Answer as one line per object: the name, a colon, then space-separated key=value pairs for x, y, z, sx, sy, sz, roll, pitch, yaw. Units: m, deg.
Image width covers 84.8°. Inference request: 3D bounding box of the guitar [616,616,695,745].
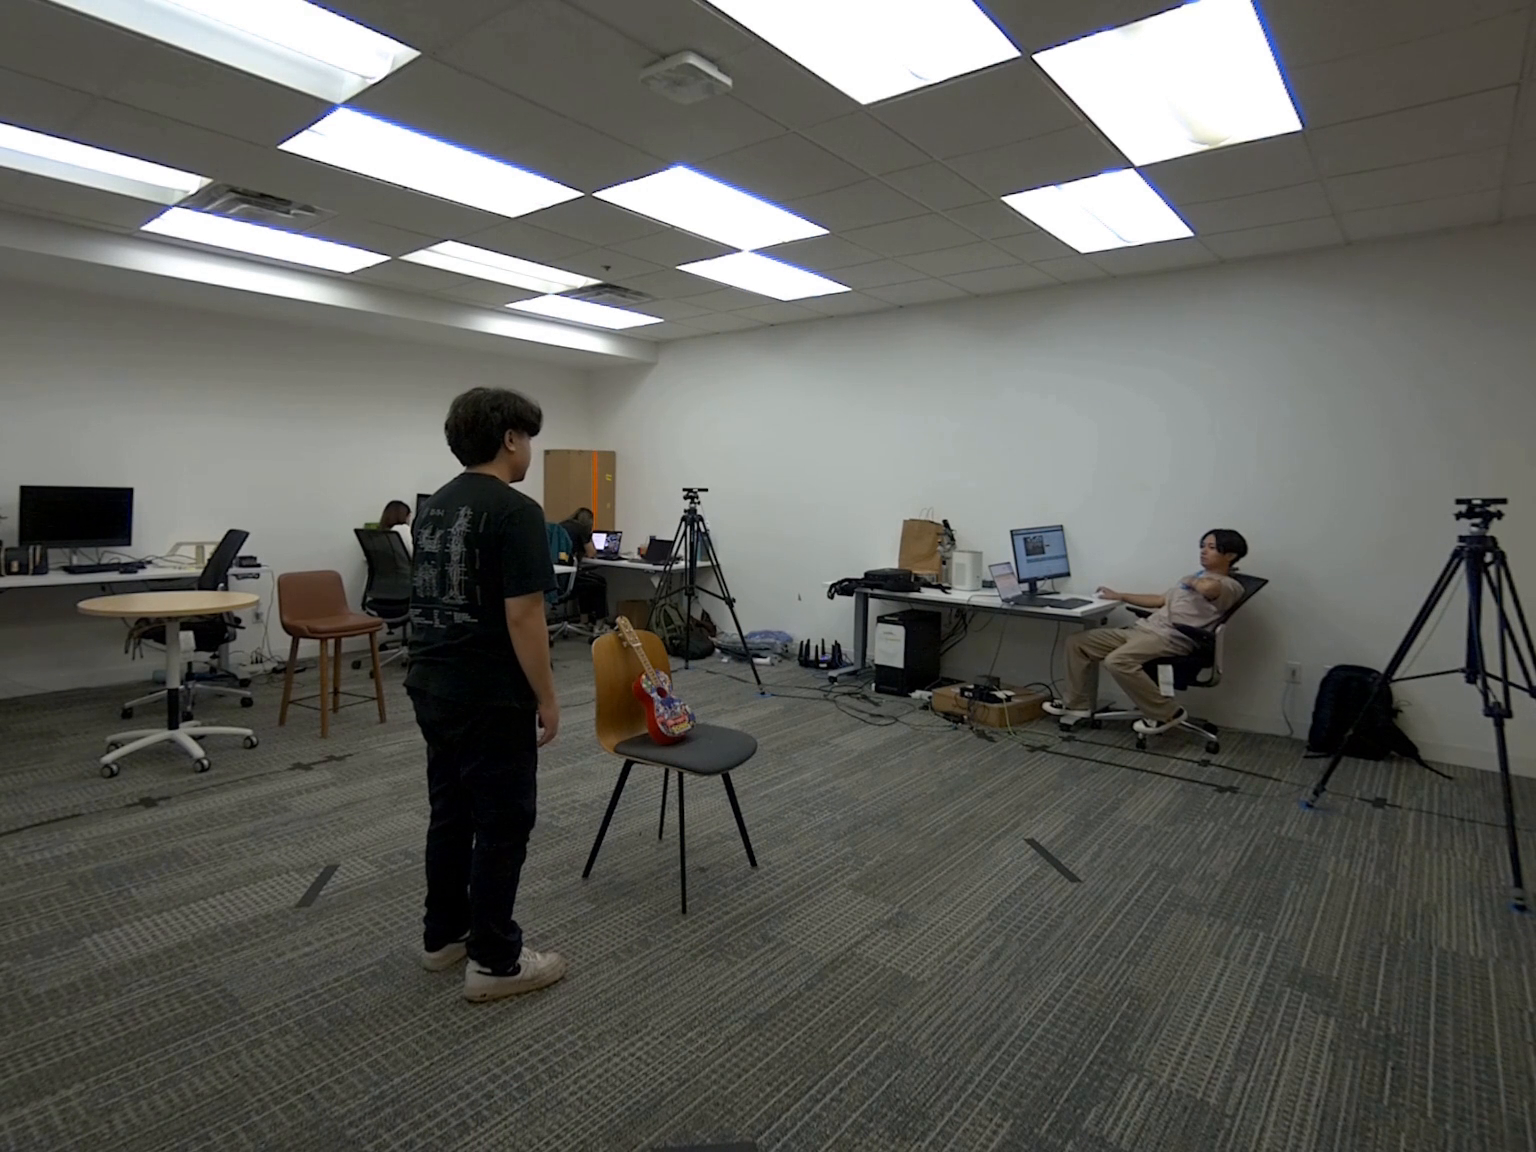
guitar: x=-0.437 y=0.376 z=3.155 sx=0.071 sy=0.511 sz=0.187 roll=-41 pitch=-24 yaw=32
